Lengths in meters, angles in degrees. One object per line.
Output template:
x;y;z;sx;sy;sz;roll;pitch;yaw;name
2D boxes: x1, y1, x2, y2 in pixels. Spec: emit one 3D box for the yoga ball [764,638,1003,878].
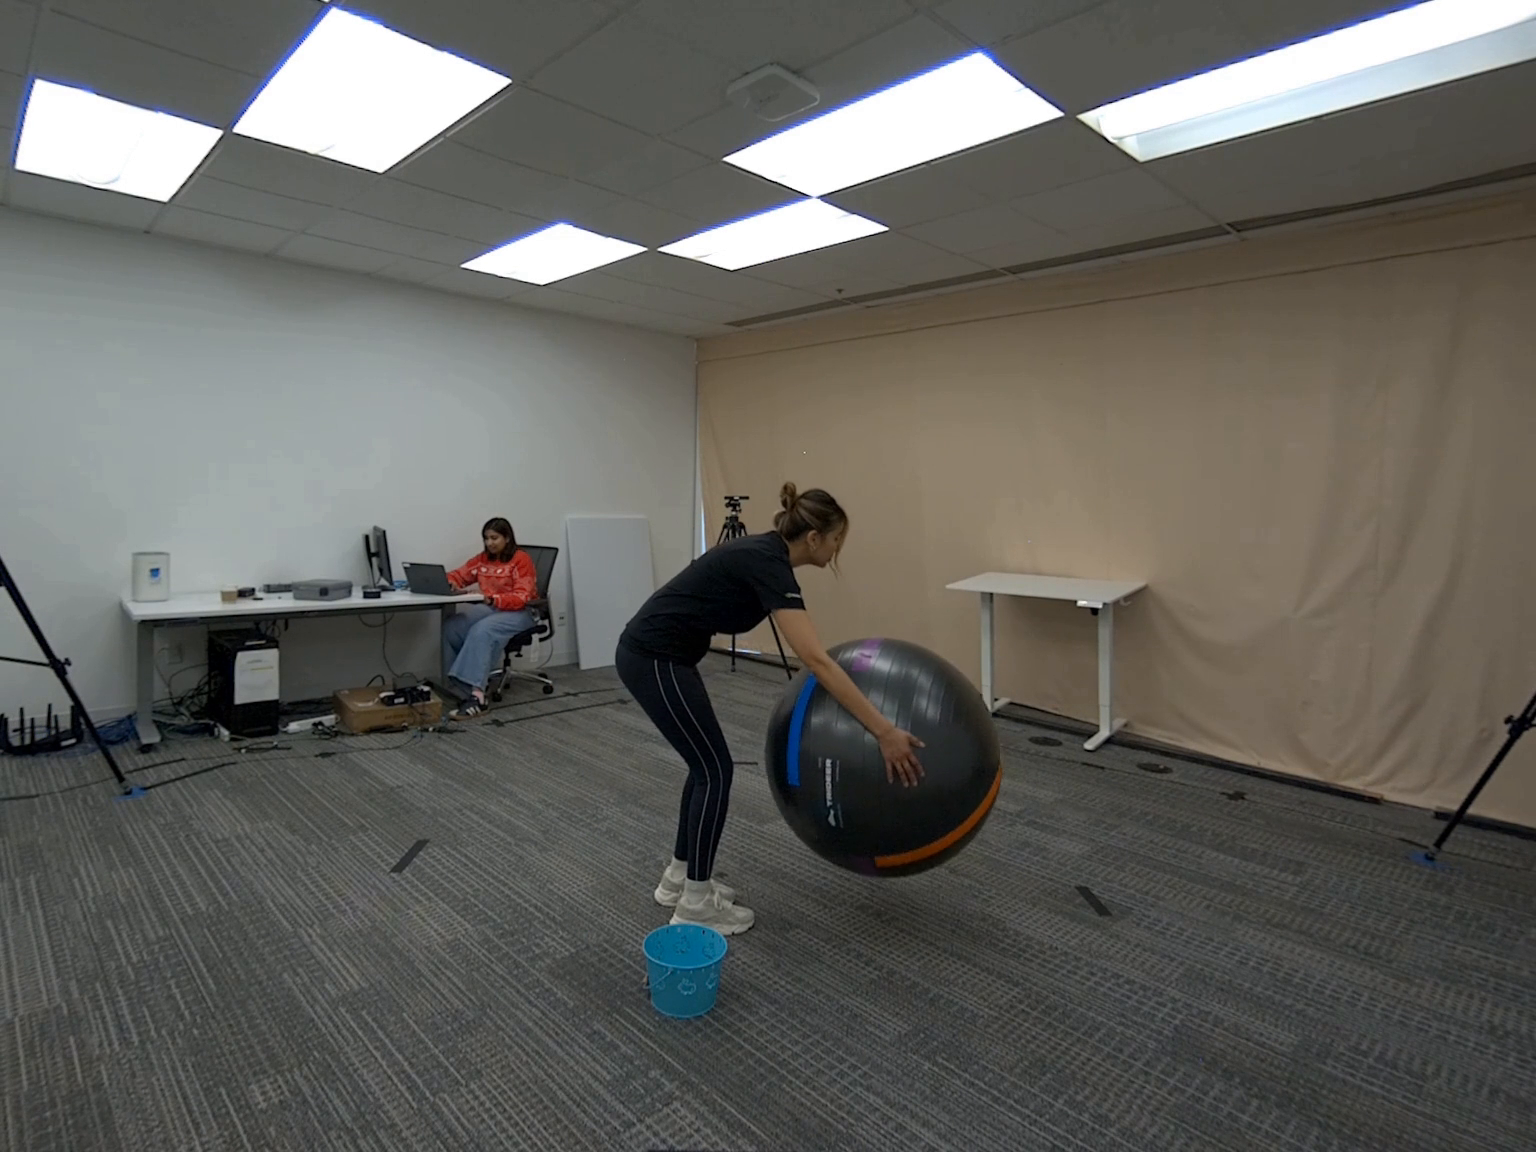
0.369;0.582;2.767;0.757;0.756;0.761;1;4;-1;yoga ball
